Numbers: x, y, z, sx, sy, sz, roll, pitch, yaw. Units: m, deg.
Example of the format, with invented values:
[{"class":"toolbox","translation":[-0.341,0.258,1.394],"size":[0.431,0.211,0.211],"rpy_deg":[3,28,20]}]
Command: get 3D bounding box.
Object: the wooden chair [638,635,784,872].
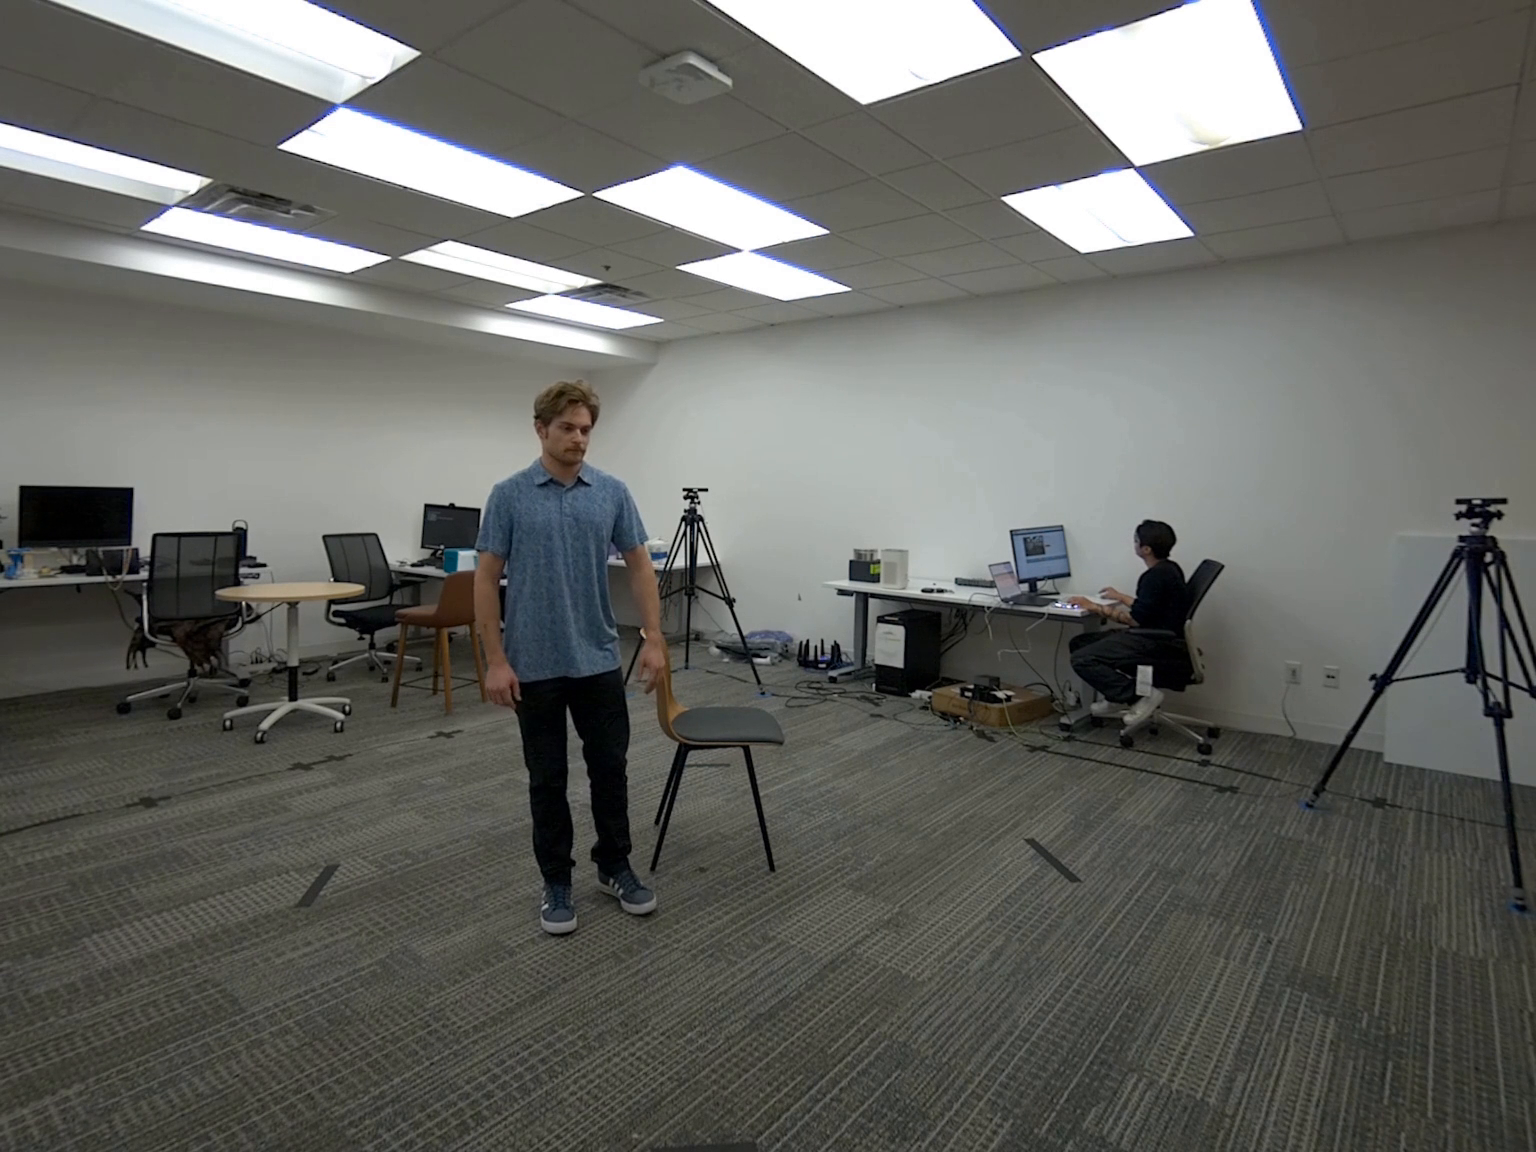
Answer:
[{"class":"wooden chair","translation":[-0.214,0.627,3.295],"size":[0.521,0.875,0.481],"rpy_deg":[-3,3,-4]}]
